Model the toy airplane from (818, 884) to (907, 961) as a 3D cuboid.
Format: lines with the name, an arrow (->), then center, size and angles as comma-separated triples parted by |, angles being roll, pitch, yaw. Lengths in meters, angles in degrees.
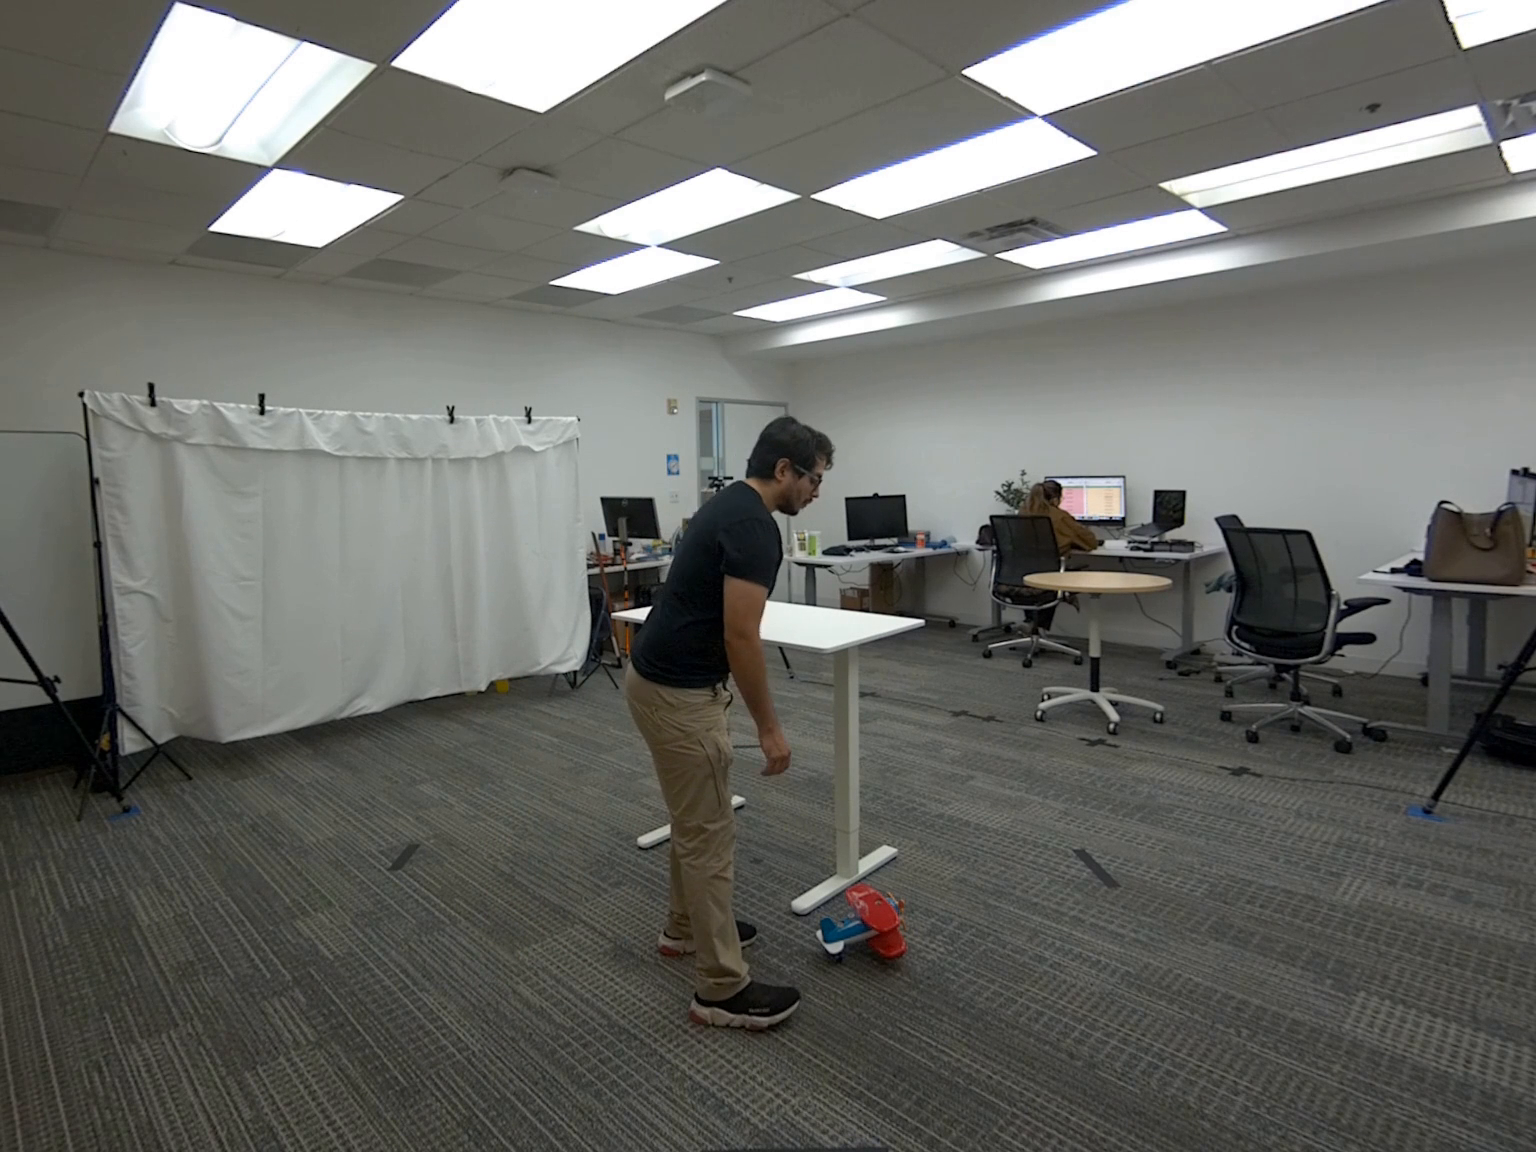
toy airplane -> 0.277, 1.028, 2.472 | 0.252, 0.156, 0.259 | -4, 7, -43
